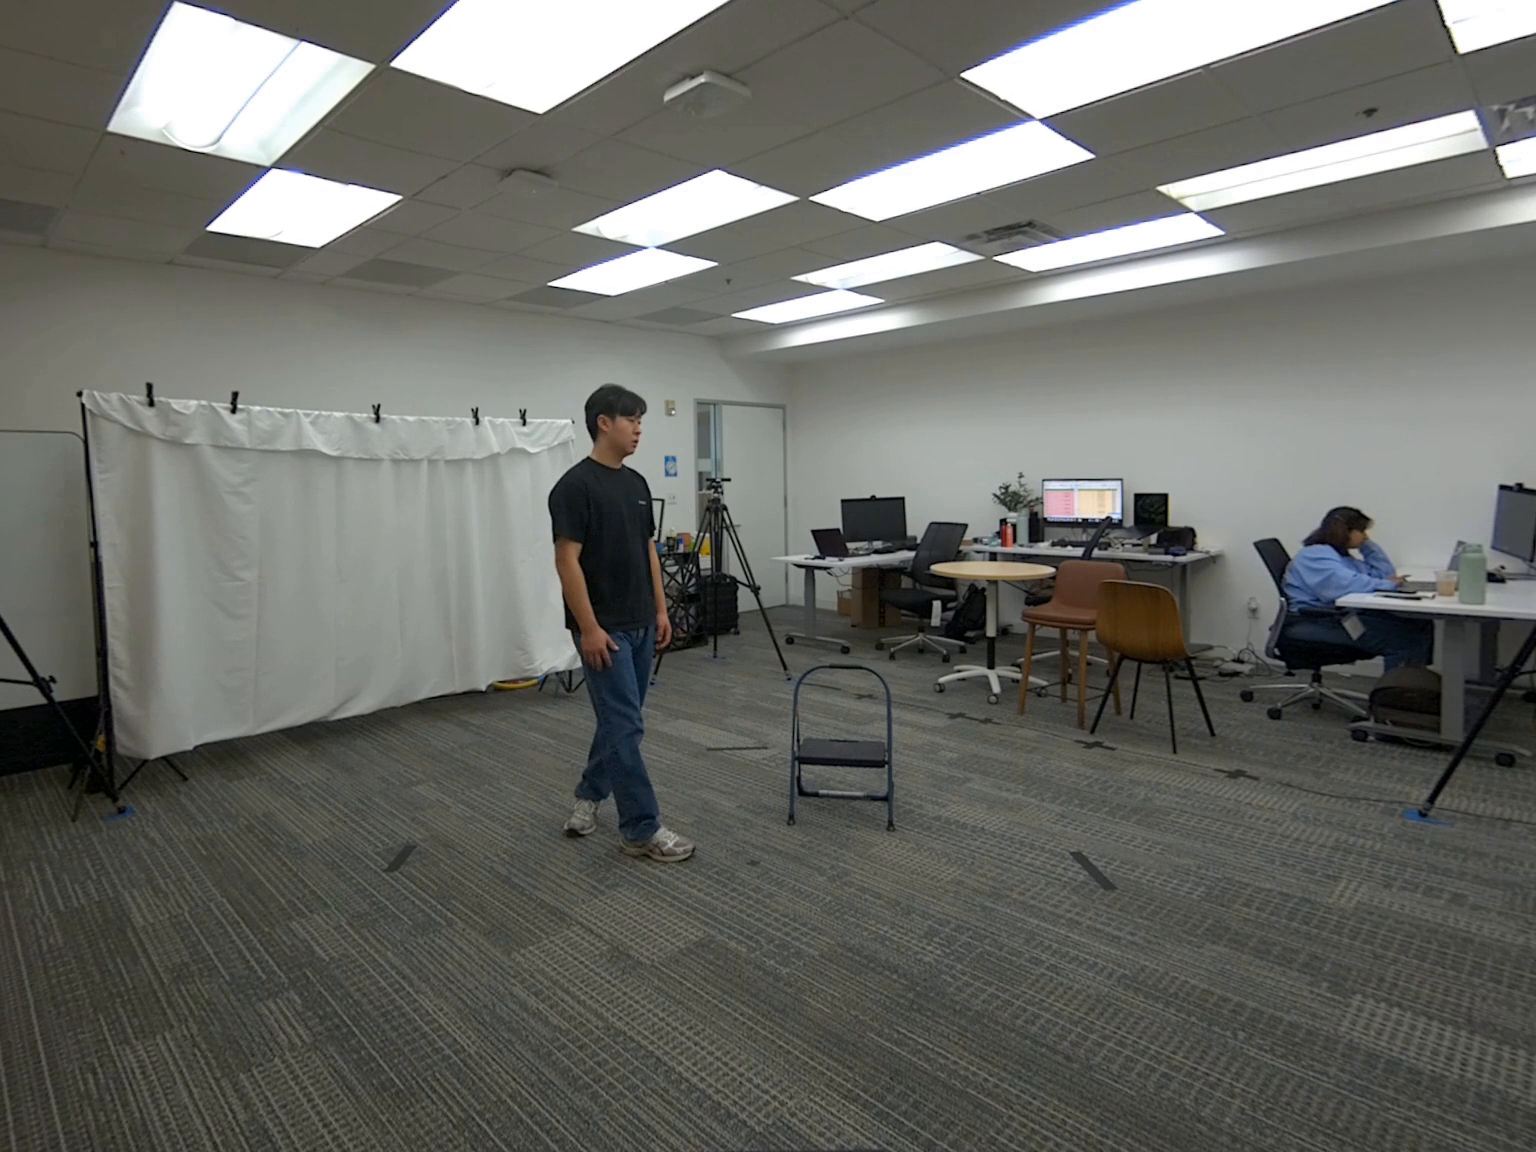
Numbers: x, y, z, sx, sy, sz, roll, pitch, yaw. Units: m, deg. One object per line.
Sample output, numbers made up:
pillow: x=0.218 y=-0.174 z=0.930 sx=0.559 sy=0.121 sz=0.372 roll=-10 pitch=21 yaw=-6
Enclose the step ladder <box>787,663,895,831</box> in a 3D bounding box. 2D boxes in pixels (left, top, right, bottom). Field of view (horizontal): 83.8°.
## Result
step ladder: x=0.316 y=0.686 z=3.555 sx=0.435 sy=0.604 sz=0.347 roll=1 pitch=4 yaw=9
